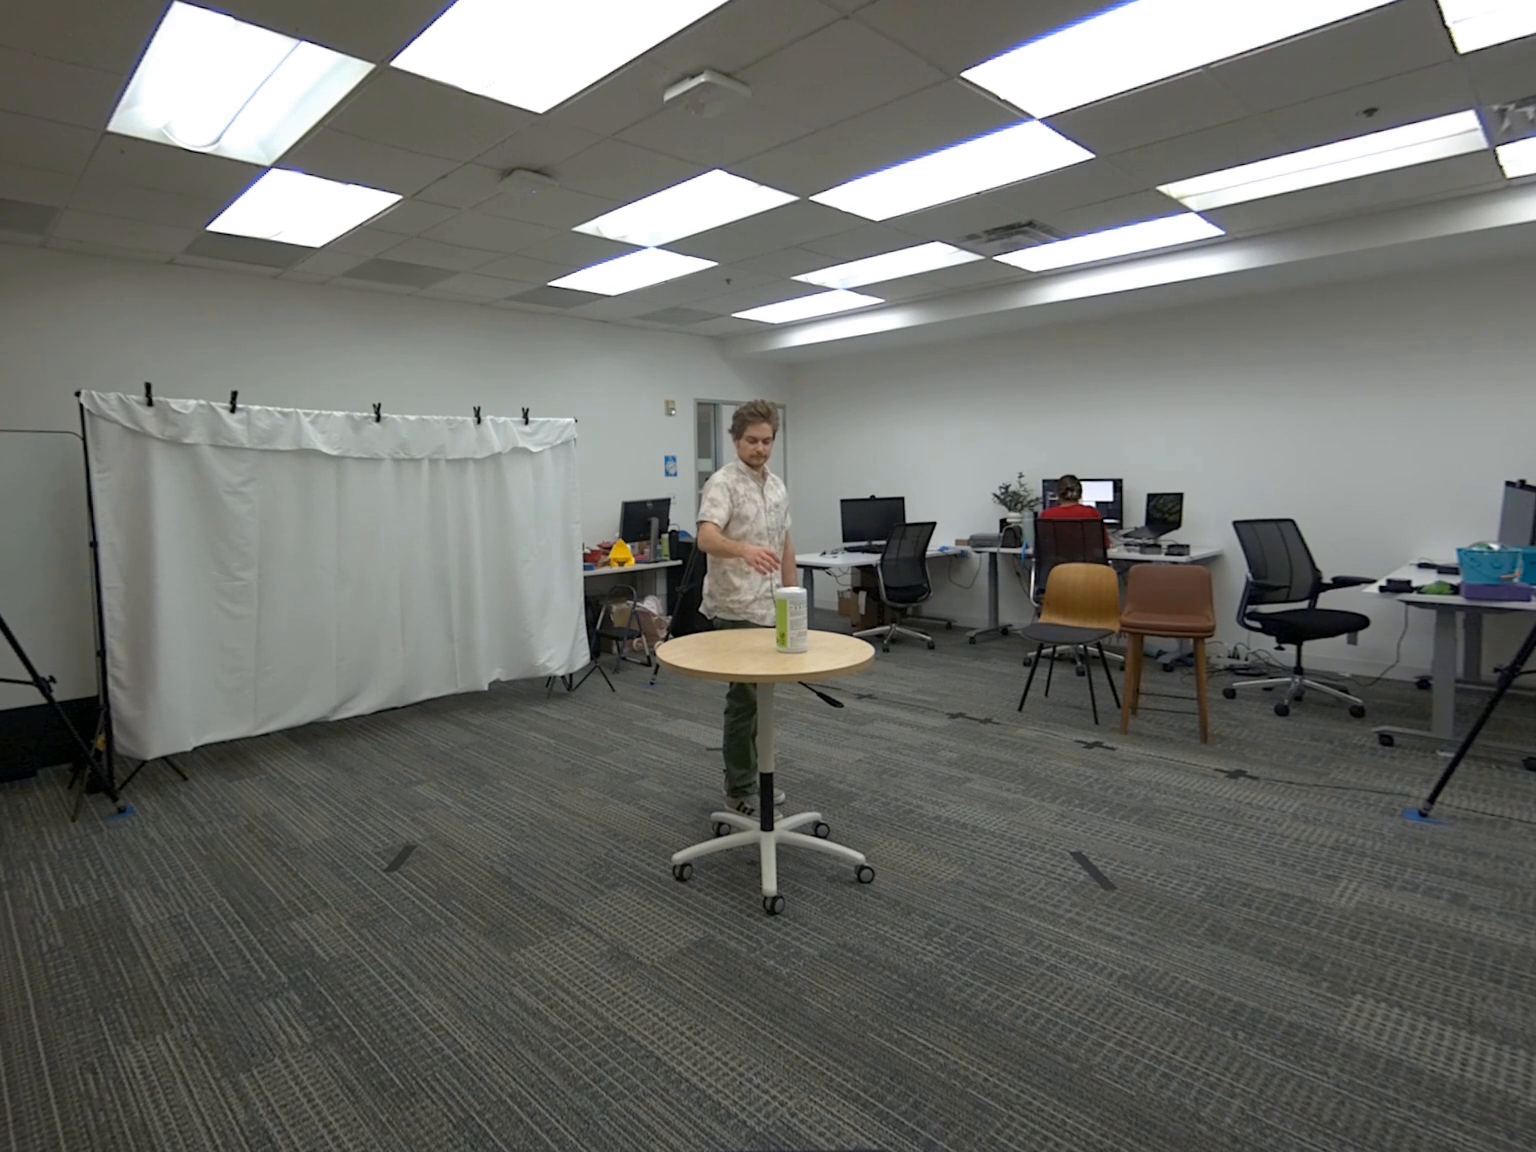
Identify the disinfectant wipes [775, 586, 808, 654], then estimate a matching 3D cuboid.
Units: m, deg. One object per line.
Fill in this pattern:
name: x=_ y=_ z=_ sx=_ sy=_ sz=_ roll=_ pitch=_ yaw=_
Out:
disinfectant wipes: x=0.085 y=0.156 z=2.974 sx=0.118 sy=0.216 sz=0.118 roll=-1 pitch=5 yaw=-2
